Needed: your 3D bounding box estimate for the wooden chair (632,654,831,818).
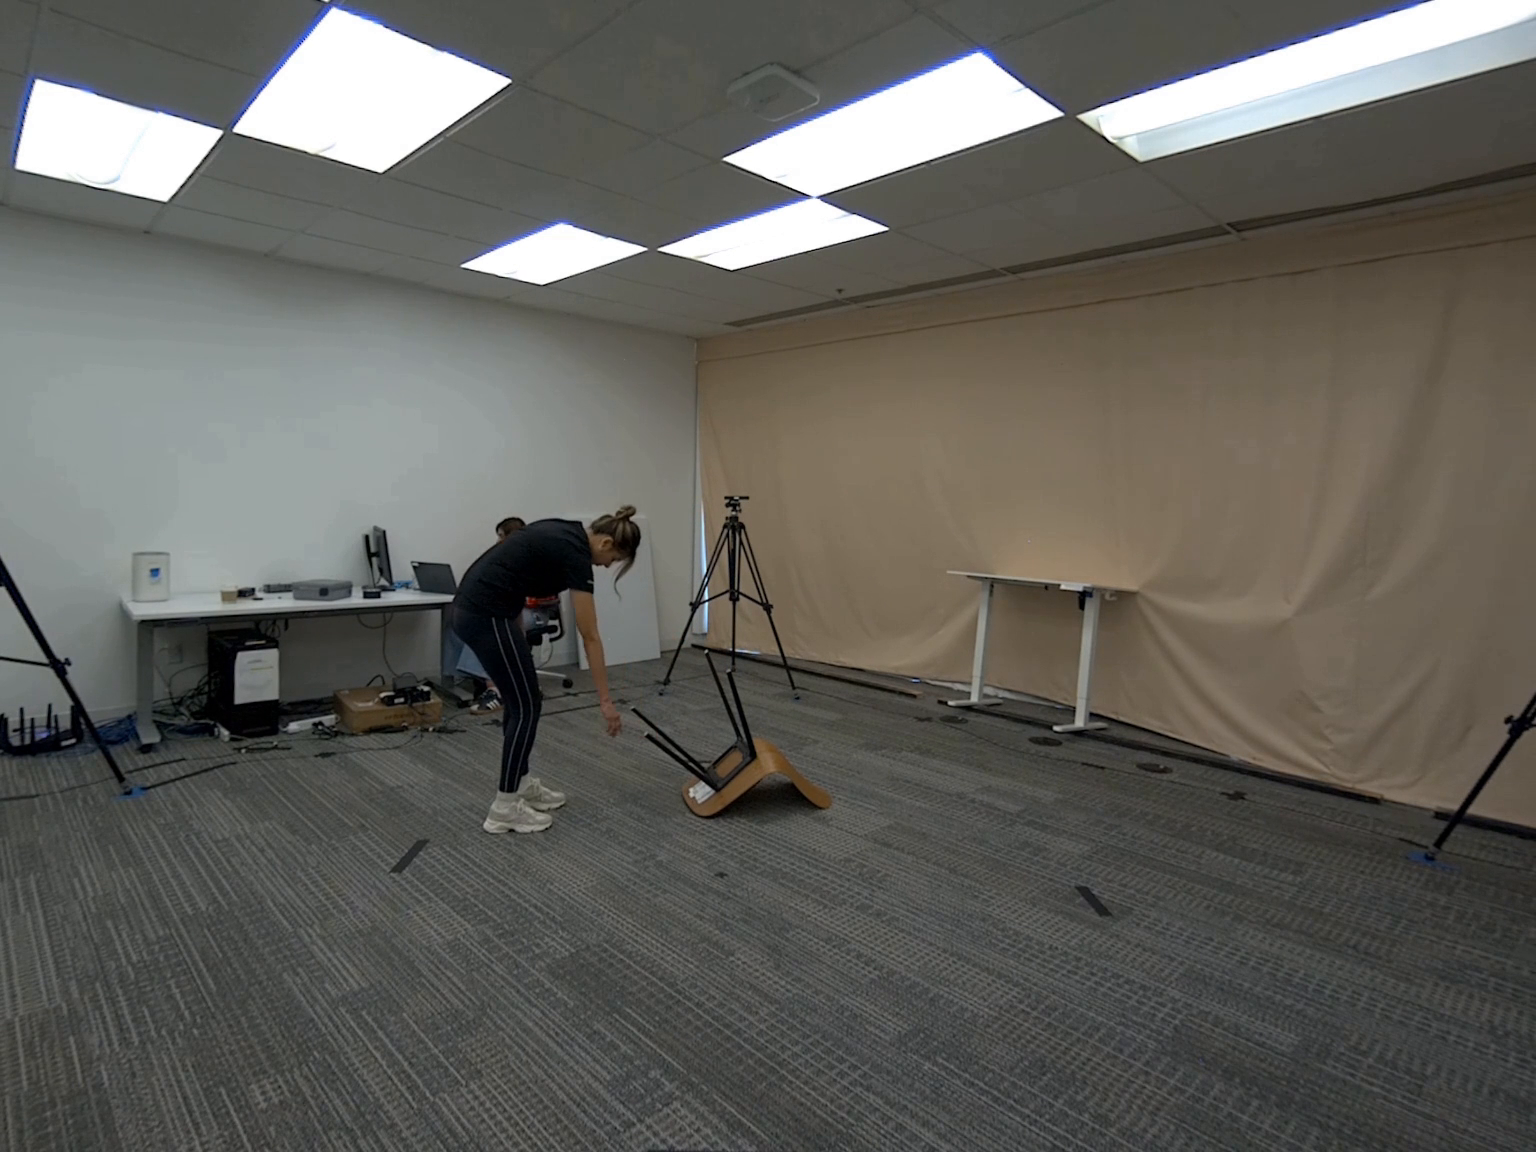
[{"bbox_3d":[-0.191,0.863,3.875,0.522,0.866,0.485,-40,13,-10],"label":"wooden chair"}]
